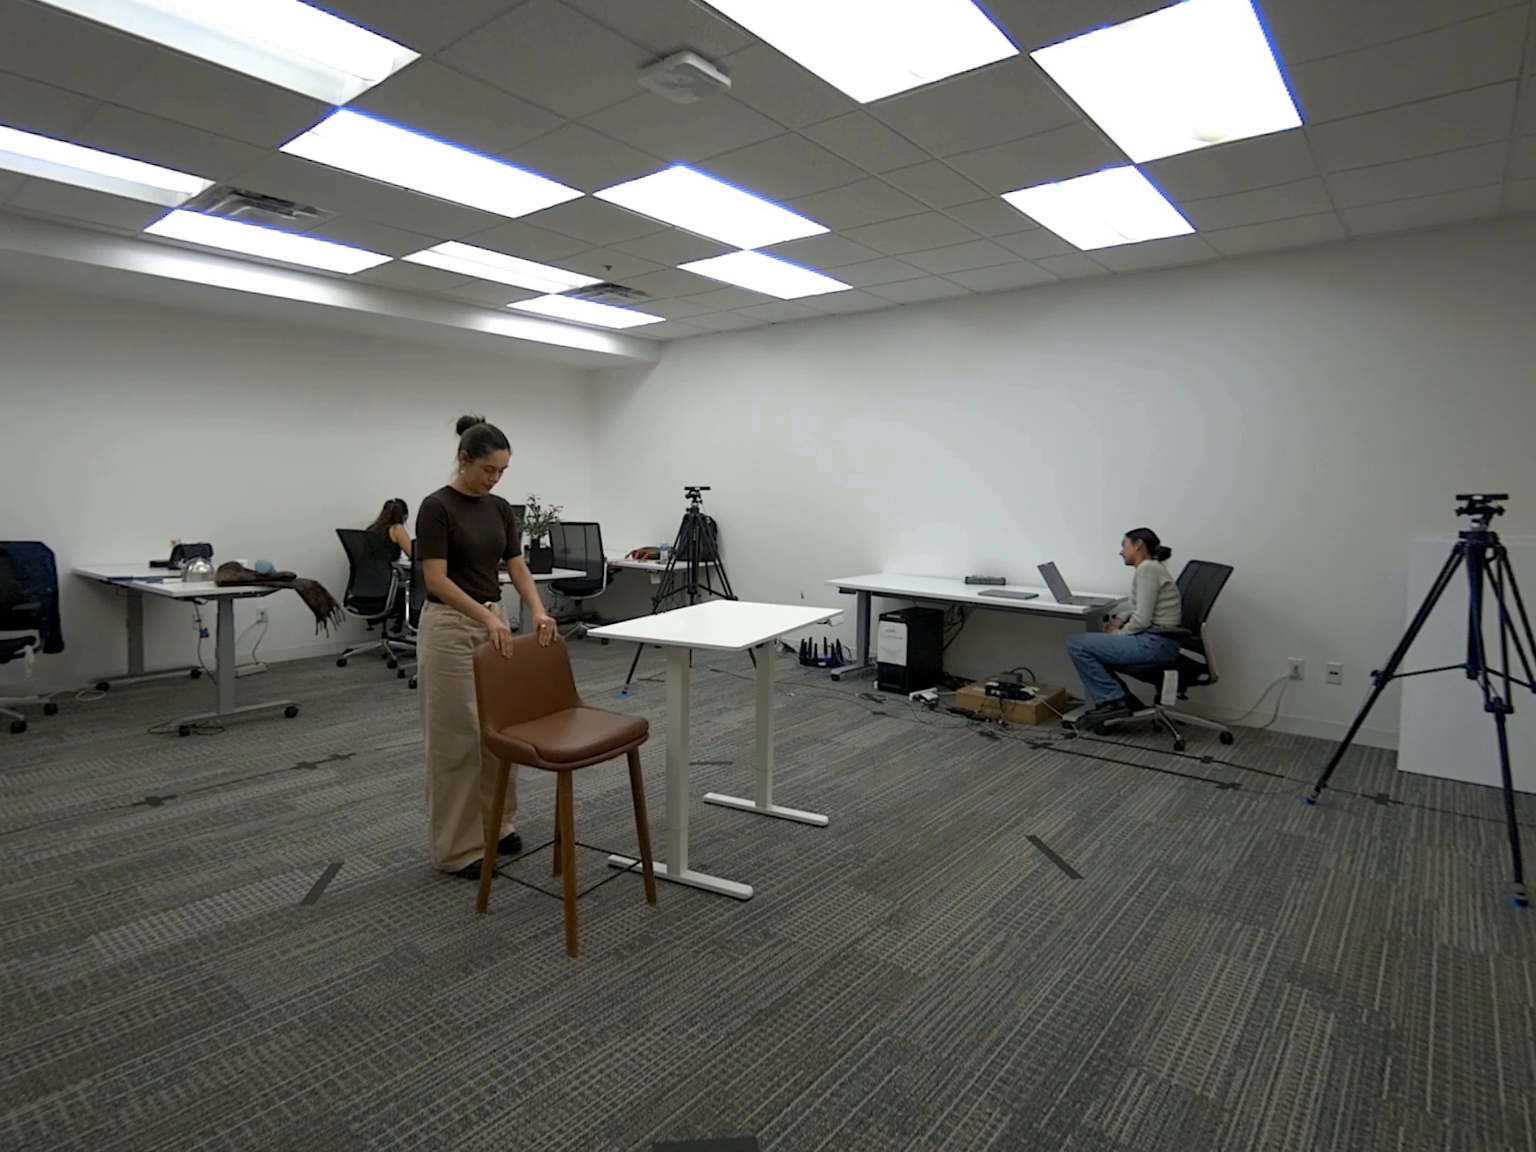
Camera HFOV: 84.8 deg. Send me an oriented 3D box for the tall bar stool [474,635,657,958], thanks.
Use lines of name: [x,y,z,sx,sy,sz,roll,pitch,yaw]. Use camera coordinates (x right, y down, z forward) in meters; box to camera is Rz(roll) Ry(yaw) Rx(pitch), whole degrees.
tall bar stool: [-0.680,0.653,2.774,0.481,0.888,0.444,0,3,33]
